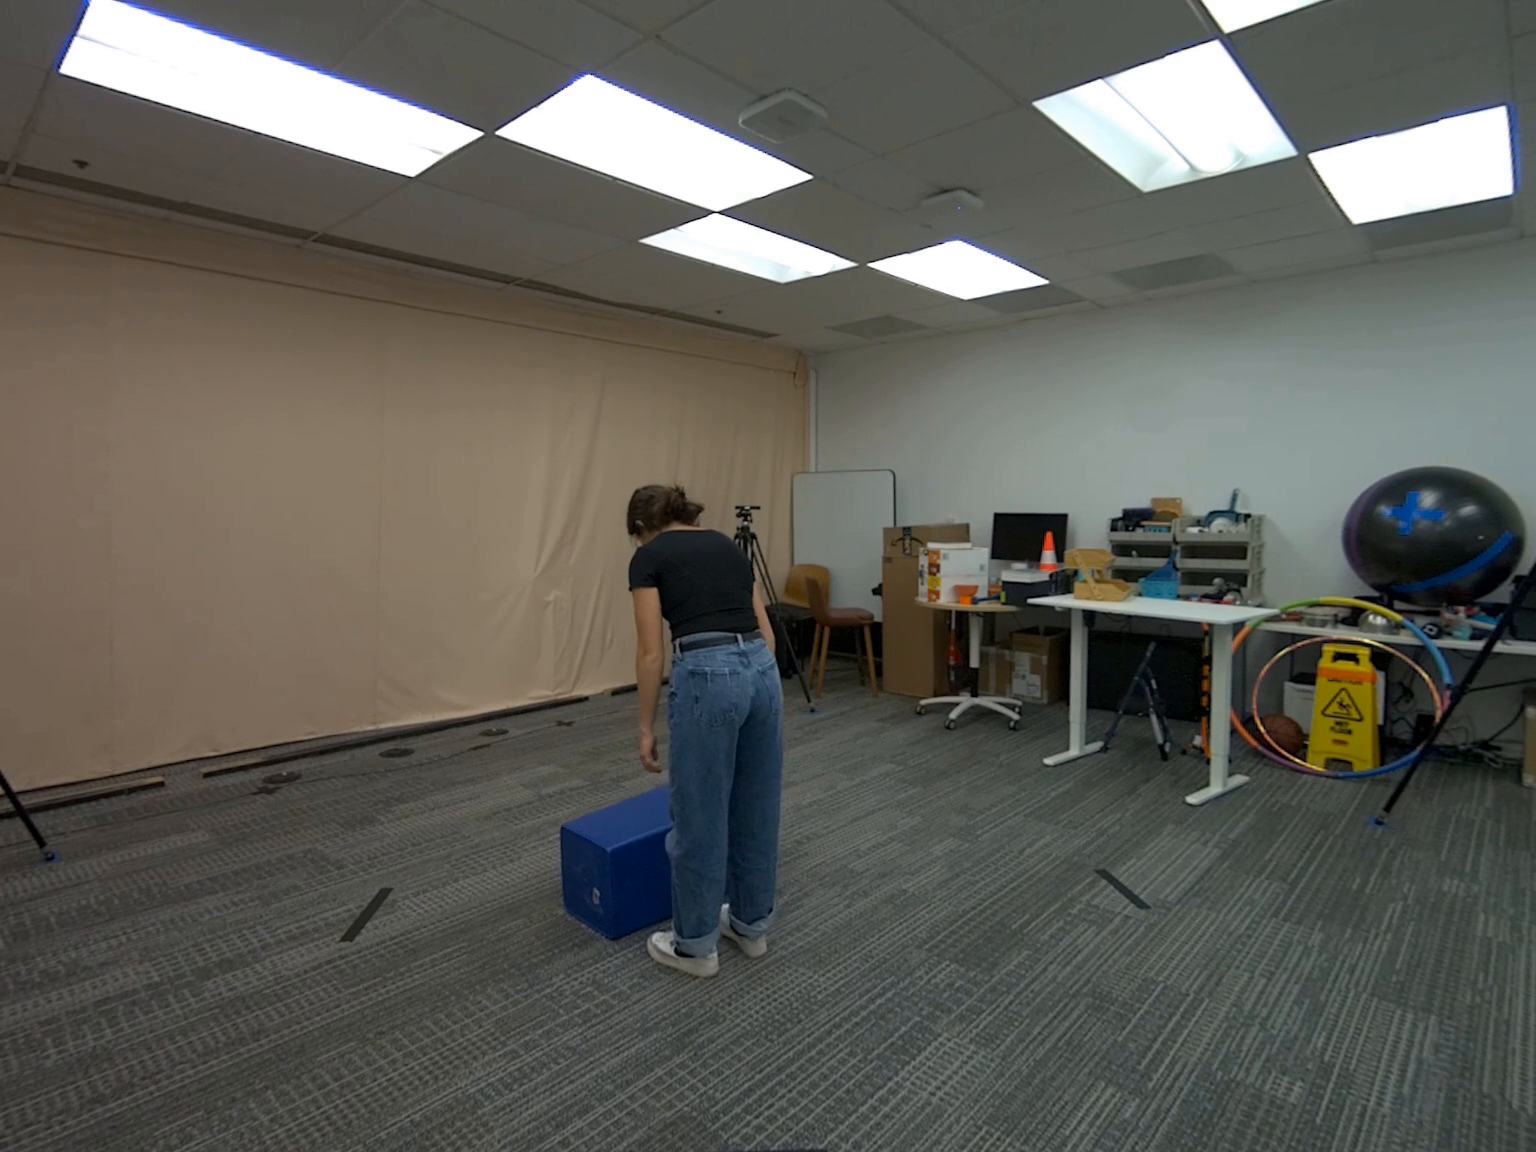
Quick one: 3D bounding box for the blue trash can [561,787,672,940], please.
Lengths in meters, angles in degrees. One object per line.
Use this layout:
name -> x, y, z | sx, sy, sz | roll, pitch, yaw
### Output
blue trash can -> -0.348, 0.979, 3.012 | 0.693, 0.376, 0.386 | -8, 9, -43
